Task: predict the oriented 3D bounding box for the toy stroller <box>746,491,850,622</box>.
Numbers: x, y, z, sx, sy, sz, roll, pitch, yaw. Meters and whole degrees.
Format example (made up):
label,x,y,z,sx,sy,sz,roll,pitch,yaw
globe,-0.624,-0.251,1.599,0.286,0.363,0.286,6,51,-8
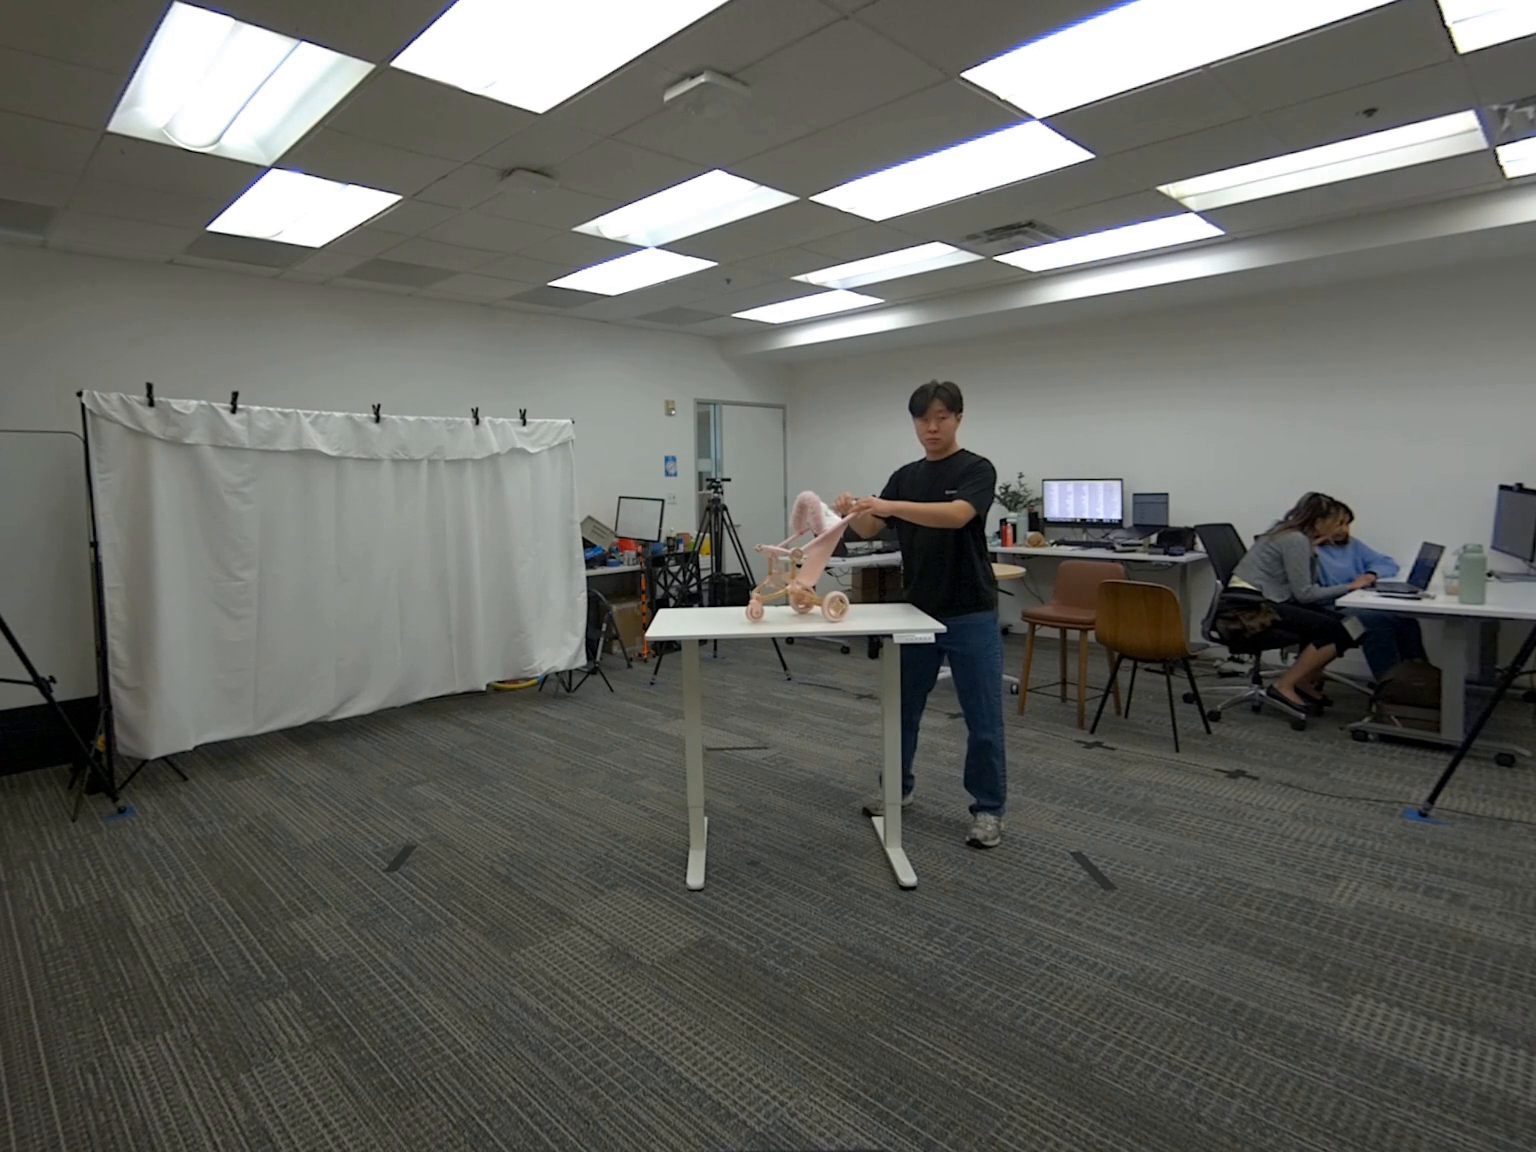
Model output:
label,x,y,z,sx,sy,sz,roll,pitch,yaw
toy stroller,0.131,-0.067,3.086,0.334,0.536,0.287,15,-2,-19
